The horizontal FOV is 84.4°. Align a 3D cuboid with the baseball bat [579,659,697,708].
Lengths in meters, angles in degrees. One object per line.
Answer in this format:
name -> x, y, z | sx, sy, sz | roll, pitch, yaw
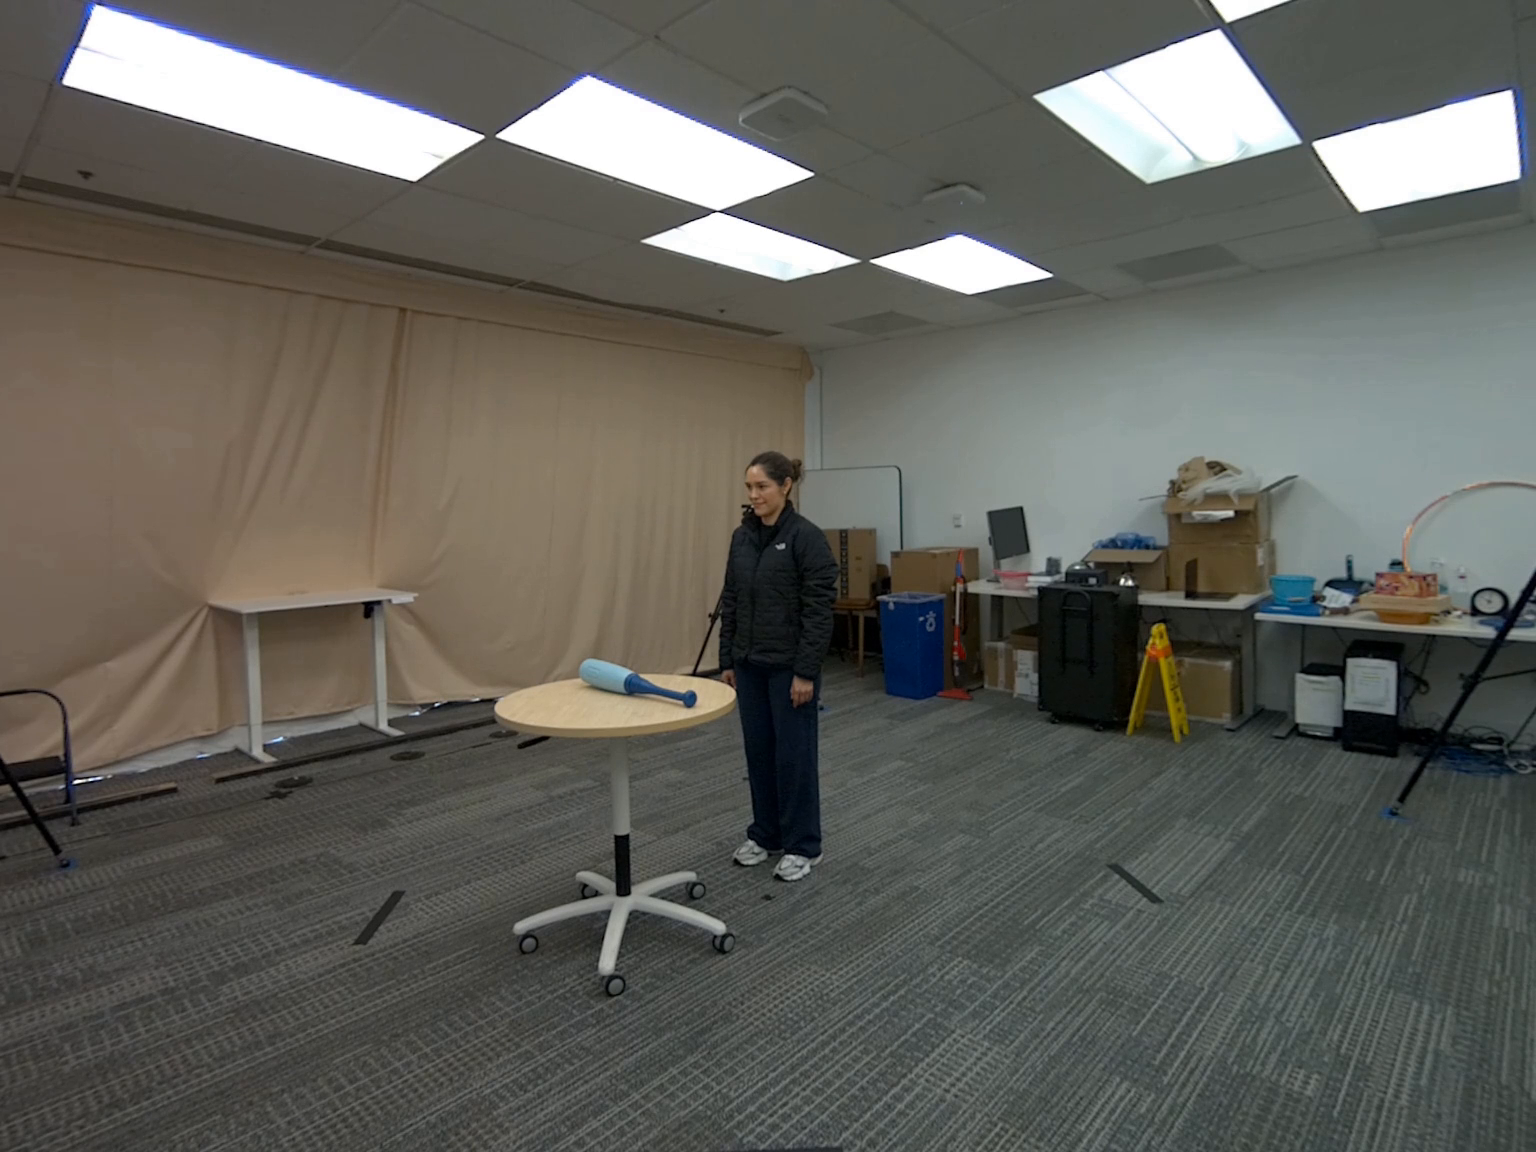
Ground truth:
baseball bat -> -0.409, 0.353, 2.718 | 0.562, 0.089, 0.086 | 7, 8, 44
